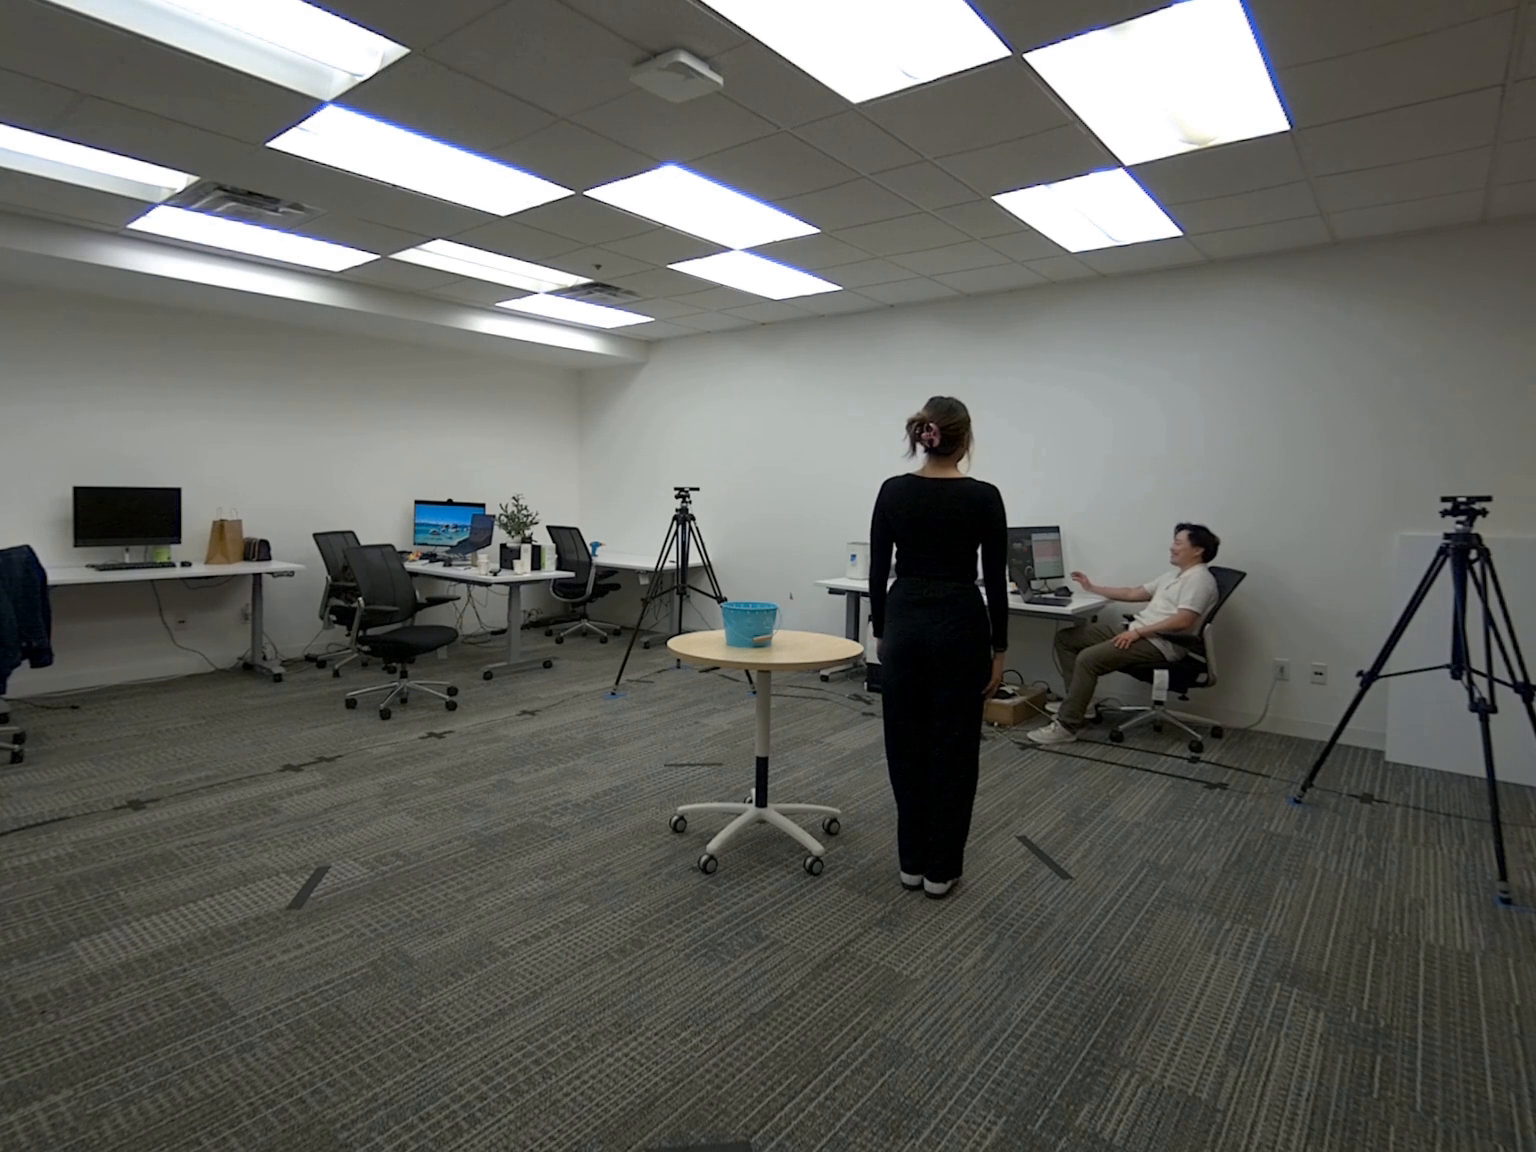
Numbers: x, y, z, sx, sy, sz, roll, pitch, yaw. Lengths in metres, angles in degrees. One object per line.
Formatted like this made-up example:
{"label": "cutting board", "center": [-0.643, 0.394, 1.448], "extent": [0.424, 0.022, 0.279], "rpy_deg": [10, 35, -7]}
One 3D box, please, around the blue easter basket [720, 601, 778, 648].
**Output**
{"label": "blue easter basket", "center": [-0.084, 0.192, 3.334], "extent": [0.243, 0.155, 0.244], "rpy_deg": [1, 4, -2]}
